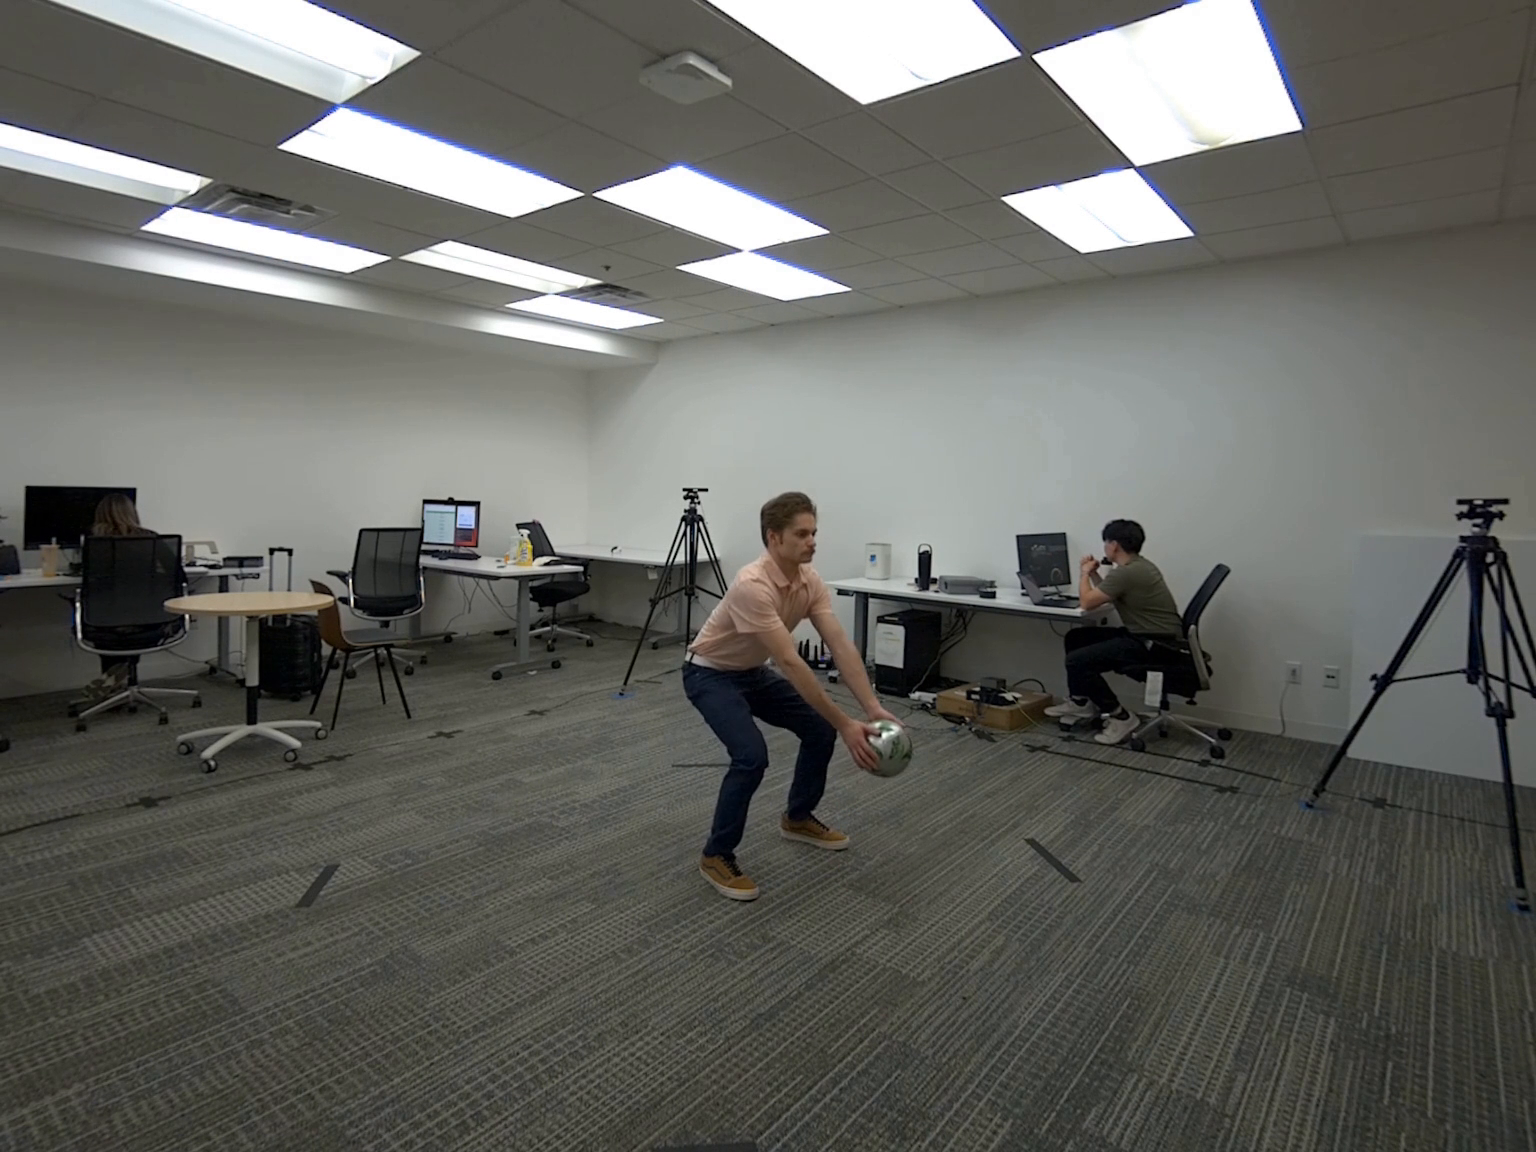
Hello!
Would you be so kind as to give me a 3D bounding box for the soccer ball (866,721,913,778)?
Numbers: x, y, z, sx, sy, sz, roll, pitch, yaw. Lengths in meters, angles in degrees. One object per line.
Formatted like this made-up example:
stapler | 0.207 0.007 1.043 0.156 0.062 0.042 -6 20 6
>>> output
soccer ball | 0.381 0.579 2.837 0.187 0.187 0.188 1 4 -2
